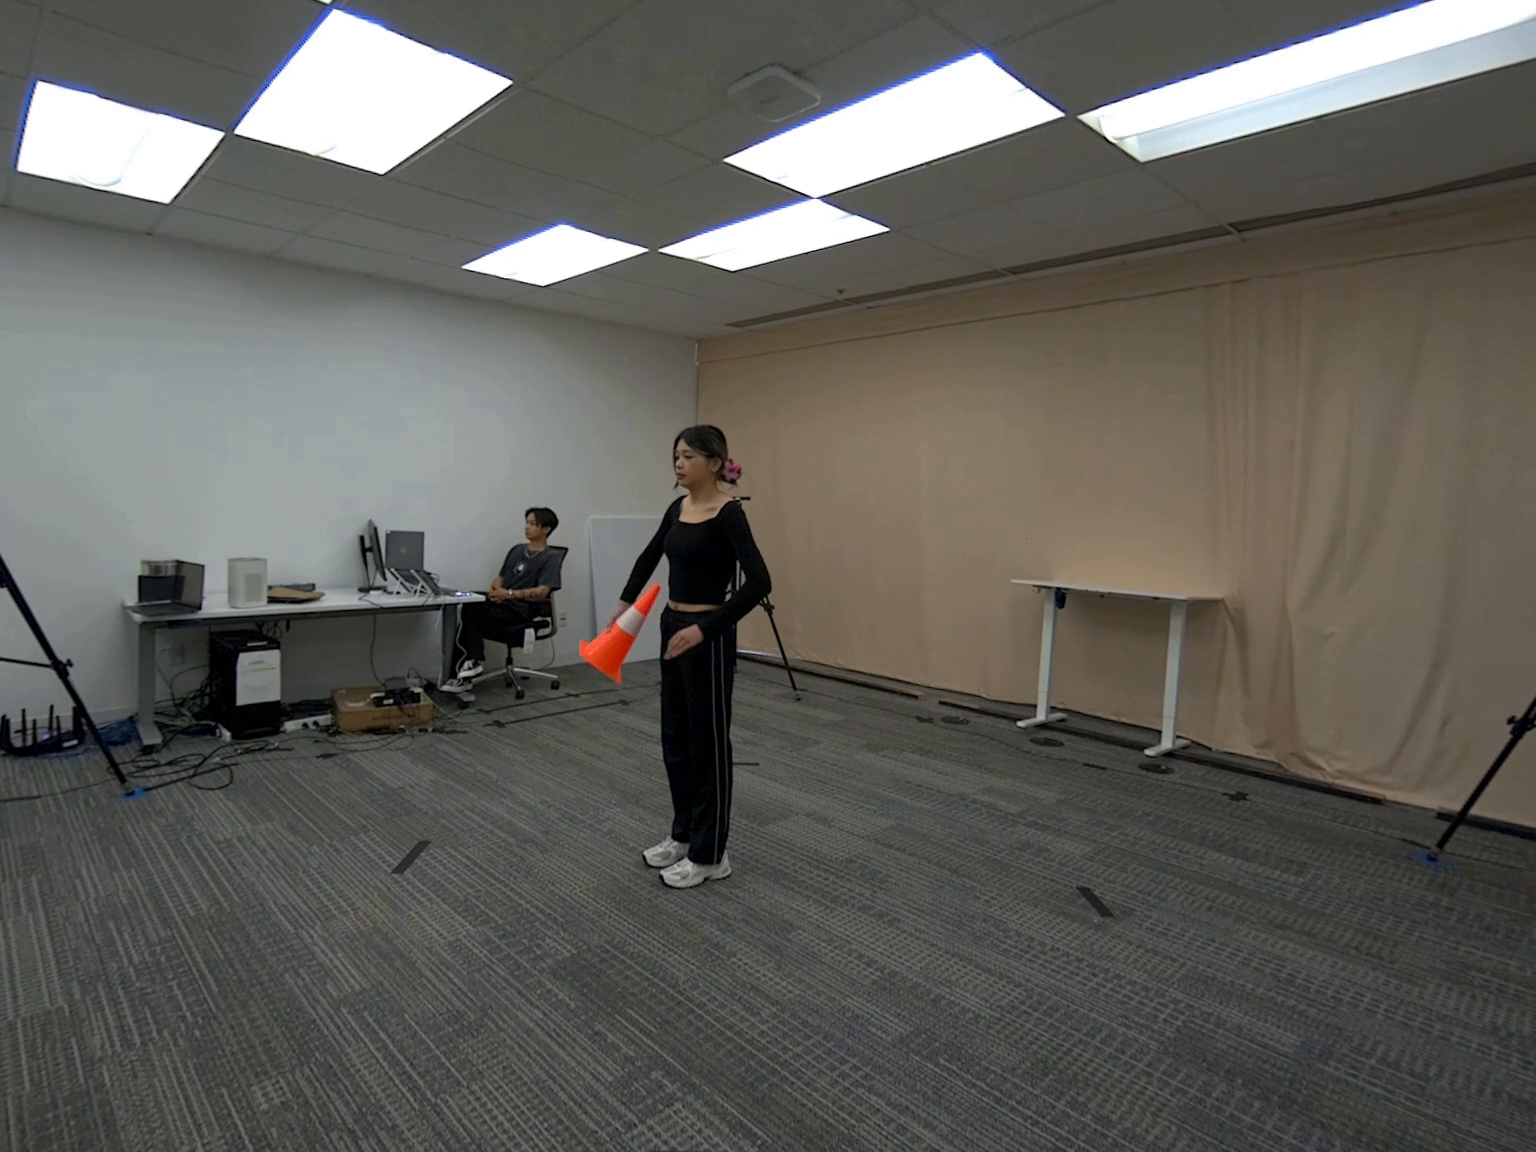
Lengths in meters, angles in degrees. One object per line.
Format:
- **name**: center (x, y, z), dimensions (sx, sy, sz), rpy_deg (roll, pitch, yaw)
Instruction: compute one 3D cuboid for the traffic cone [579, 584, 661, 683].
- **traffic cone**: center (-0.538, 0.187, 3.295), dimensions (0.199, 0.383, 0.209), rpy_deg (36, 3, -18)
